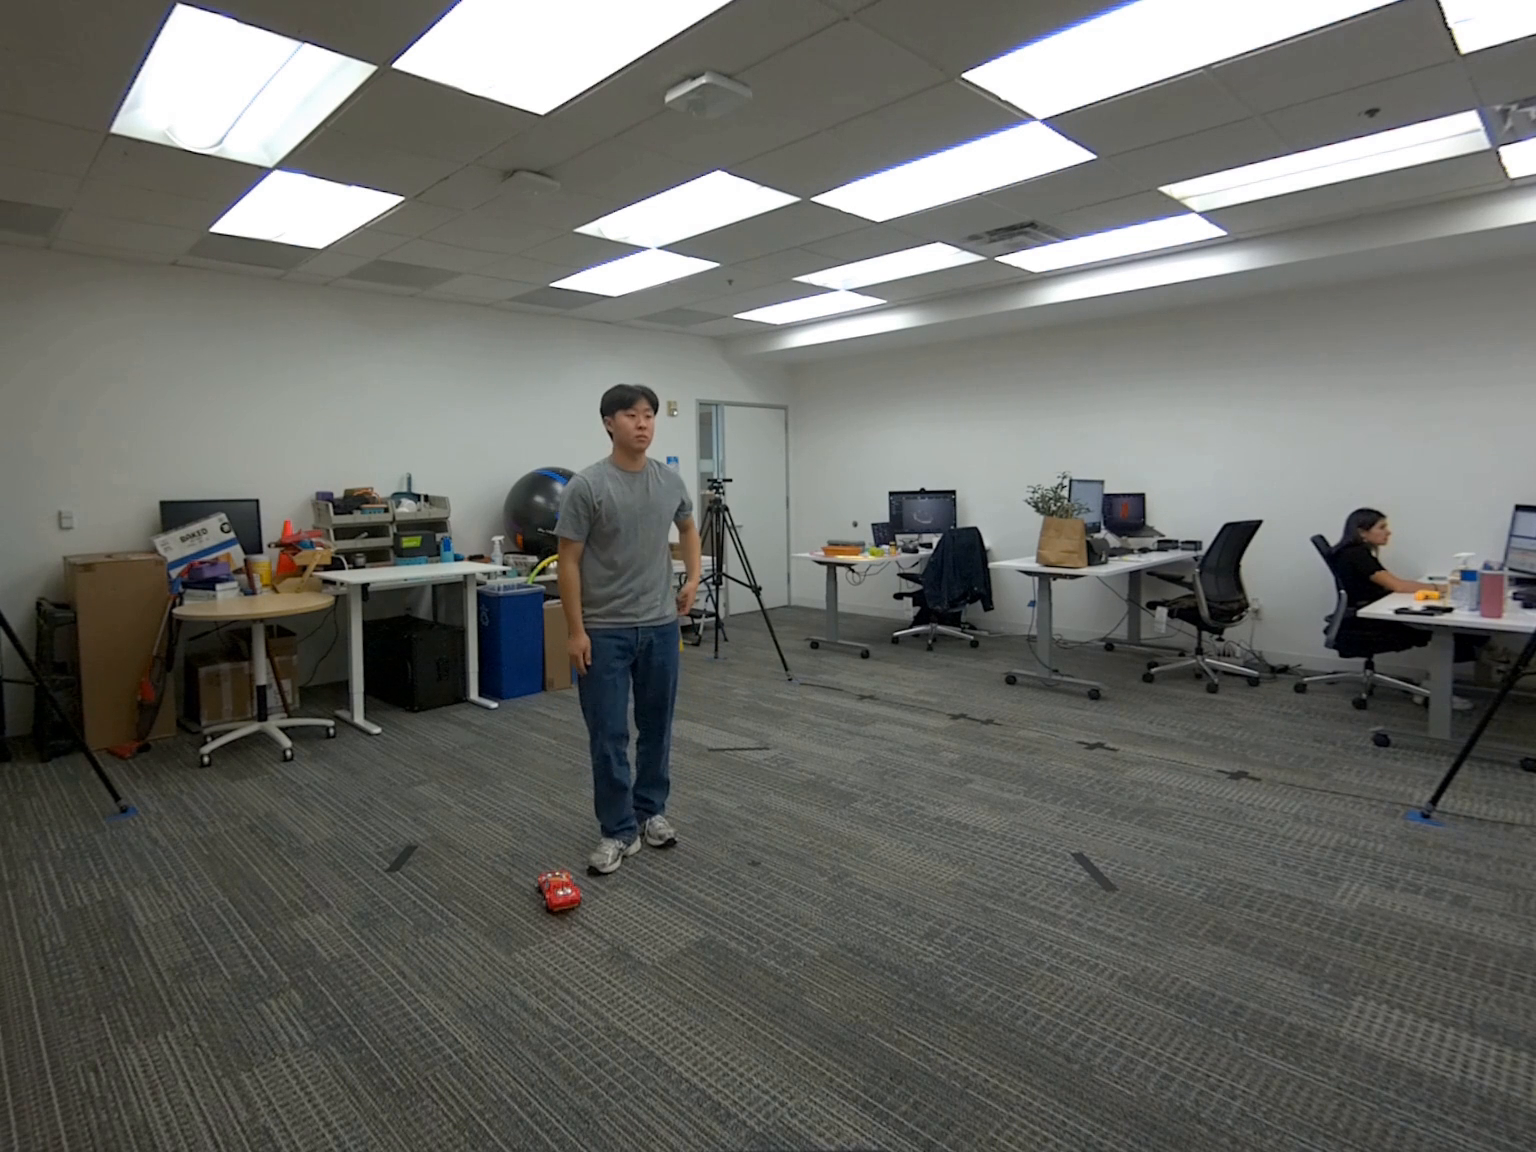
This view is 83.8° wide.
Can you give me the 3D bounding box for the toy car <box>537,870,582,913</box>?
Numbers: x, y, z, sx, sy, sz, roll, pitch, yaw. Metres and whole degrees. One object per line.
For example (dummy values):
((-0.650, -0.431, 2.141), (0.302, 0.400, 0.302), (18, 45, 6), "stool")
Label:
((-0.693, 1.055, 2.847), (0.128, 0.083, 0.258), (-5, -4, -23), "toy car")
